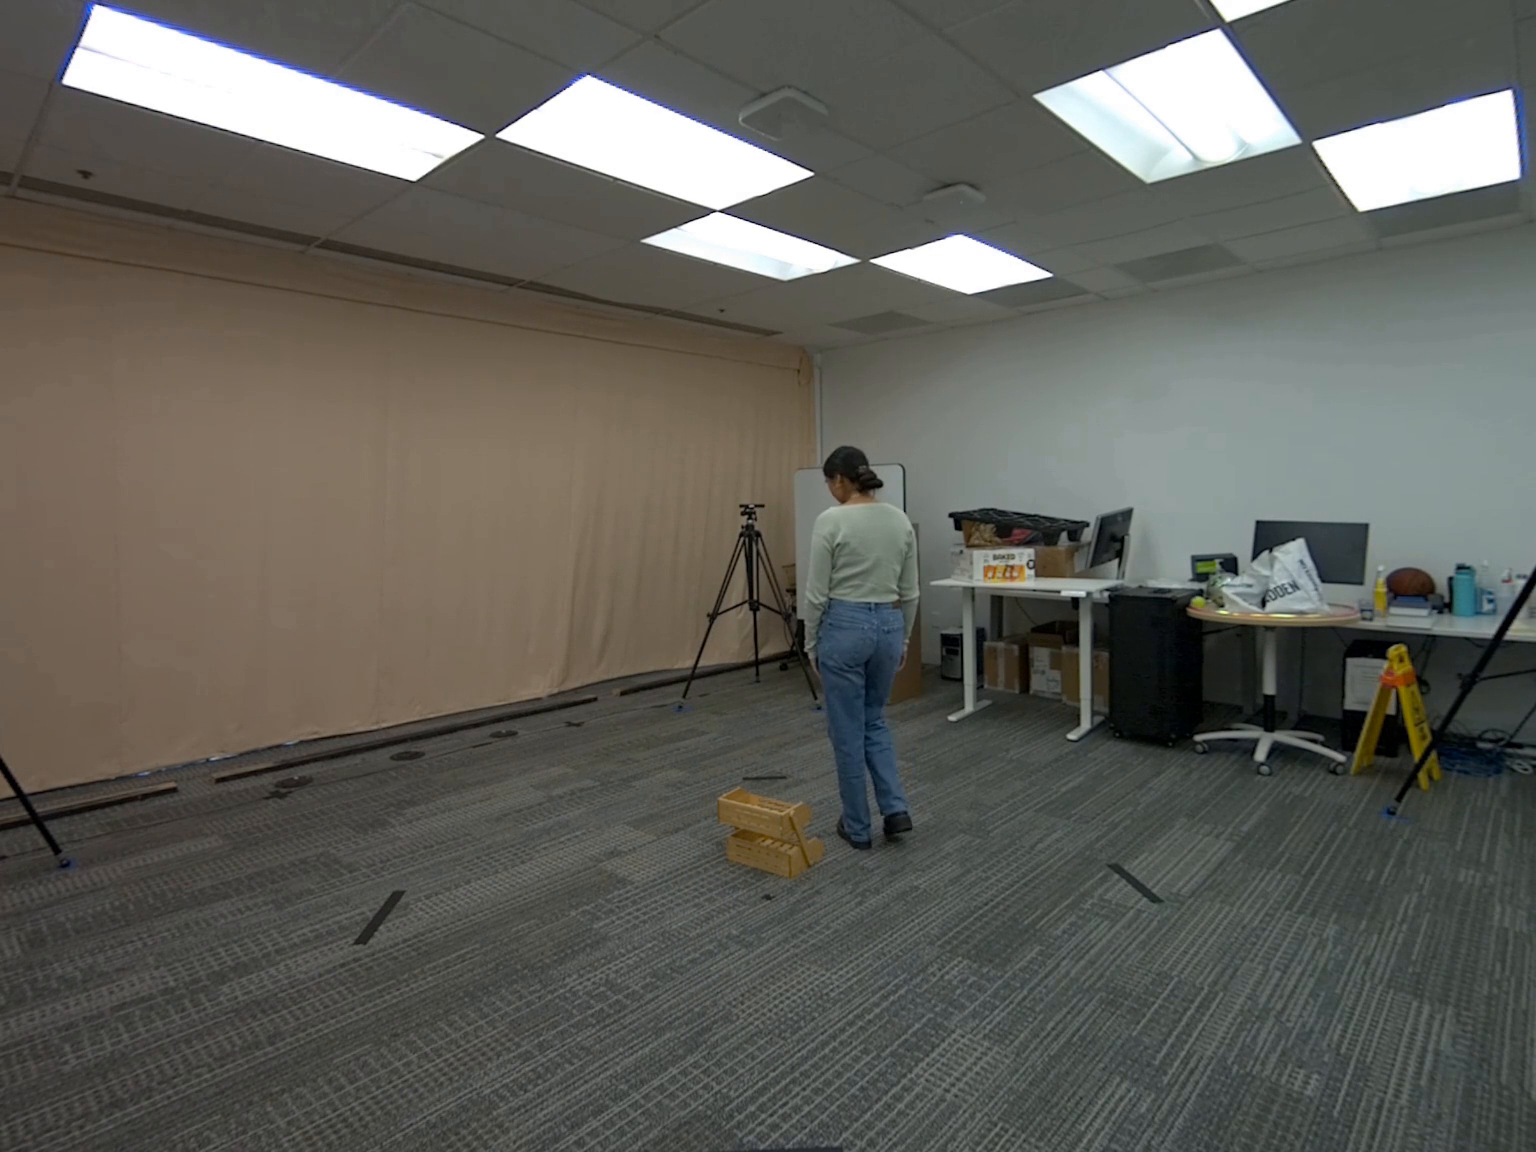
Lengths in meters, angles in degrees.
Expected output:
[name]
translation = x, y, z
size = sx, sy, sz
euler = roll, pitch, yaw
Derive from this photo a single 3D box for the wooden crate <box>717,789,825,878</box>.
[wooden crate]
translation = 0.016, 0.979, 3.287
size = 0.334, 0.272, 0.294
euler = 2, 6, 35
